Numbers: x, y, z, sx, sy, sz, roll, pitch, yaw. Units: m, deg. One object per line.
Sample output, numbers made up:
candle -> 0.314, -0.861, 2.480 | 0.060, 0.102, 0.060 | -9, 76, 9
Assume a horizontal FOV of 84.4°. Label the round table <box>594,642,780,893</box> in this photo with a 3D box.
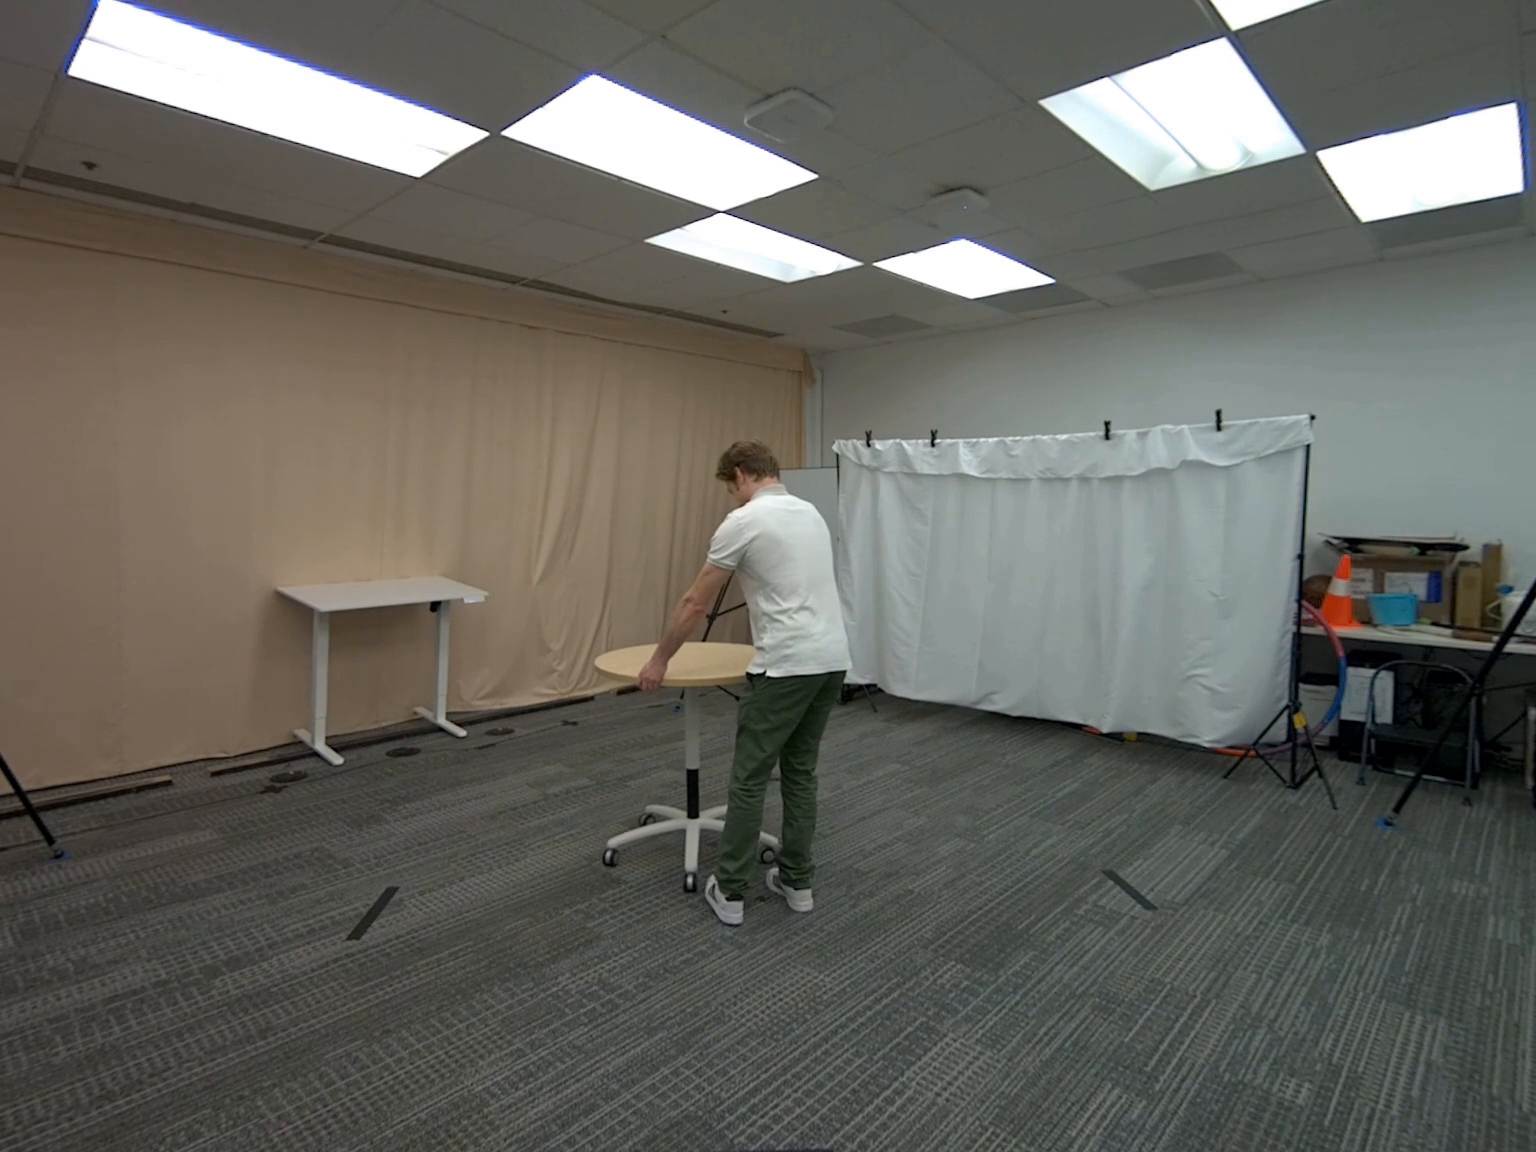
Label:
round table -> -0.303, 0.723, 3.376 | 0.763, 0.792, 0.767 | -1, 4, -2
